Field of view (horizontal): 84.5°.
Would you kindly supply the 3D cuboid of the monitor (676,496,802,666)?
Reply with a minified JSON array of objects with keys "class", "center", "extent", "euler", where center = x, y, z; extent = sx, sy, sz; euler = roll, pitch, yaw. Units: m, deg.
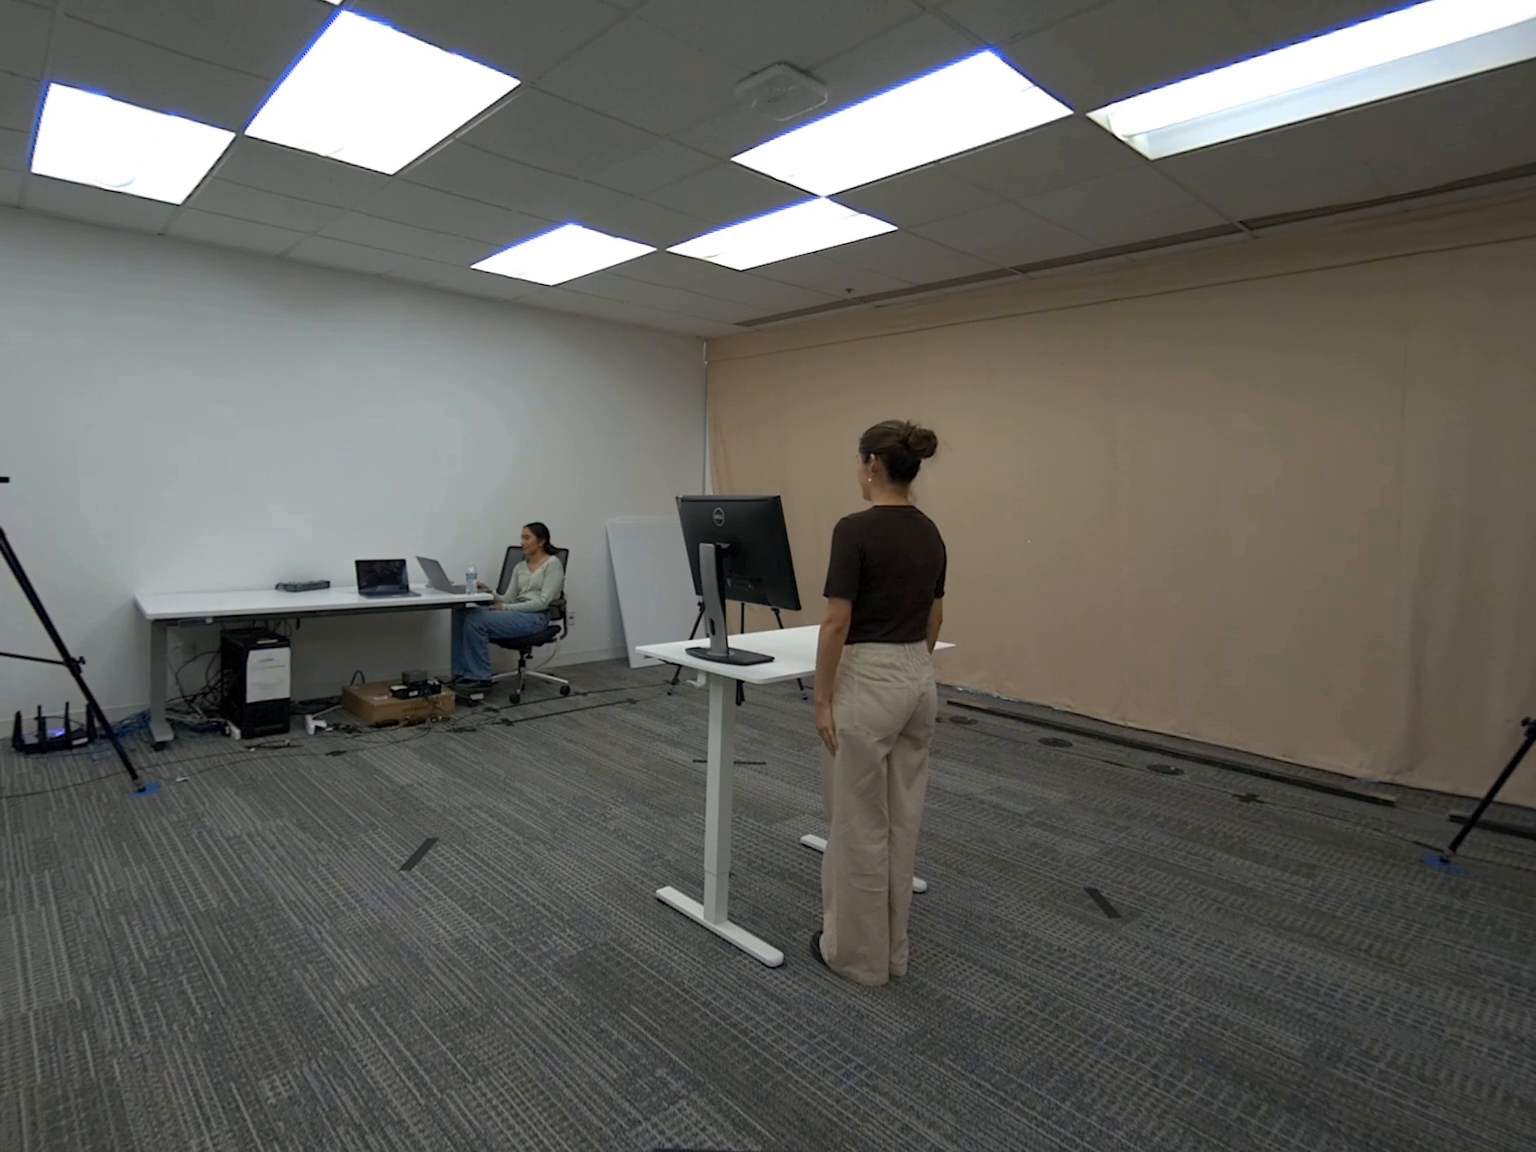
[{"class":"monitor","center":[-0.140,0.013,2.632],"extent":[0.183,0.521,0.553],"euler":[-3,7,-39]}]
